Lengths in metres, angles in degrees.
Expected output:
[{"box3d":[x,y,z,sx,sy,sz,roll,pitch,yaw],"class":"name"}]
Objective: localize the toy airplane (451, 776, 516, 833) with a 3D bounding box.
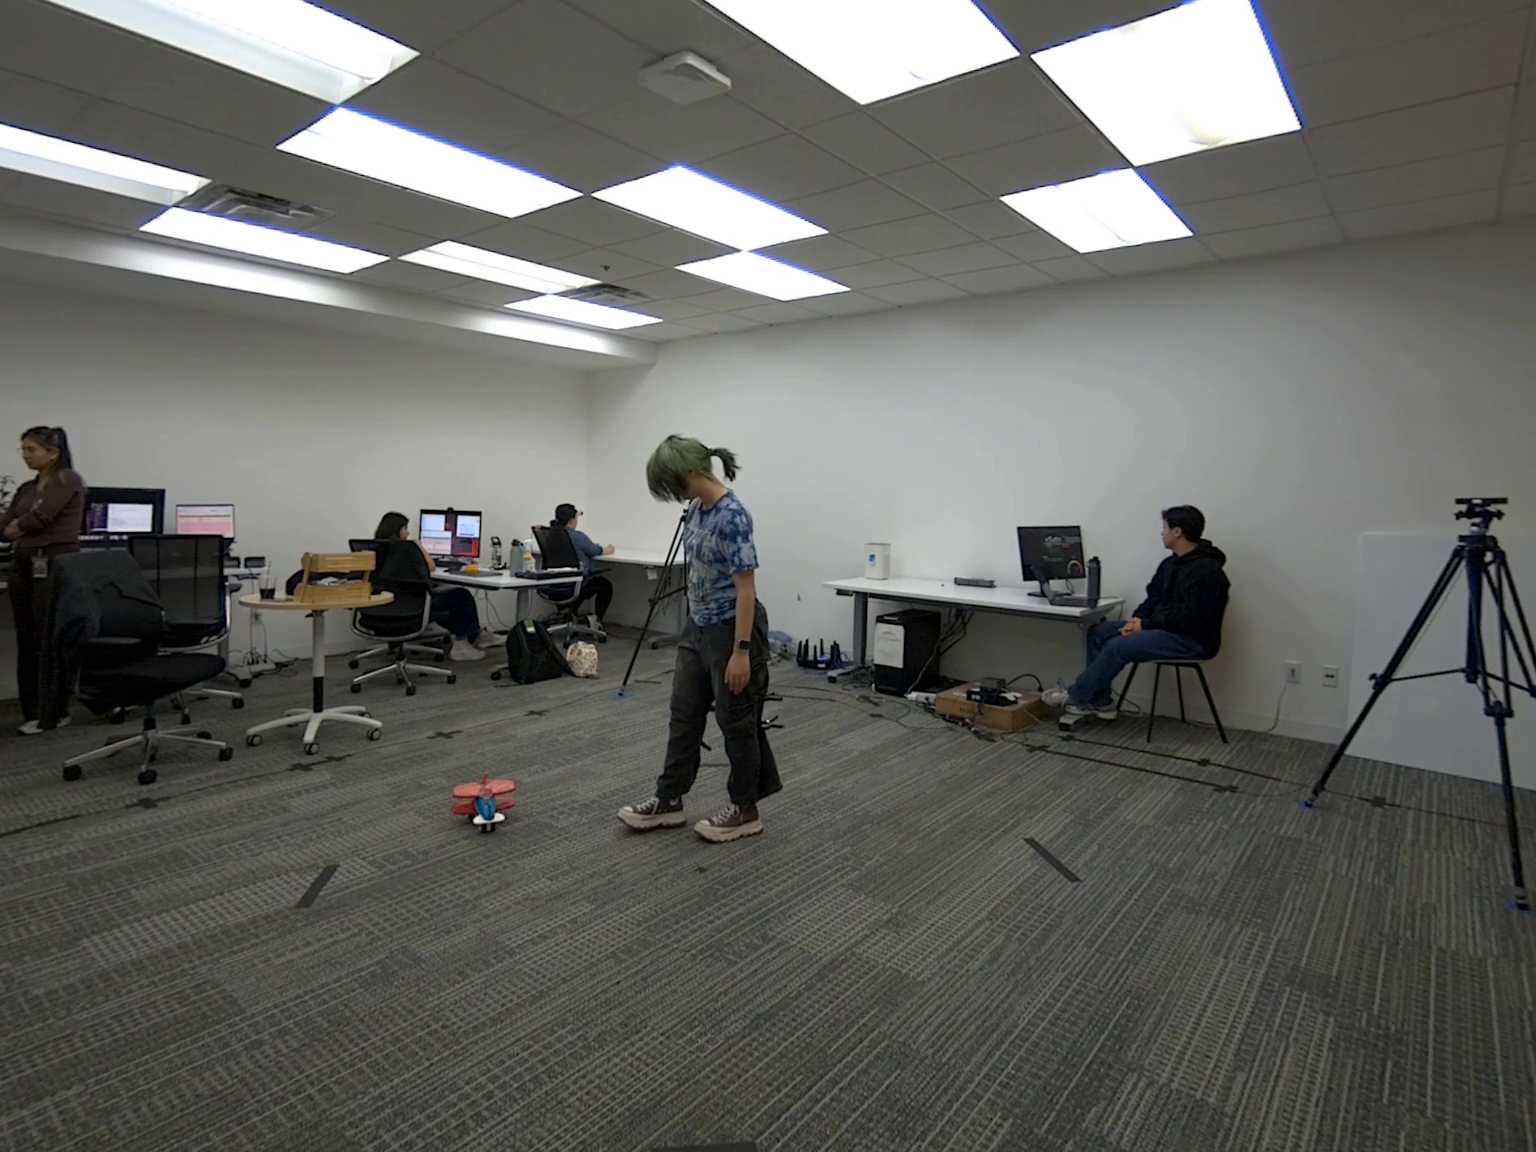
[{"box3d":[-1.169,0.947,3.510,0.268,0.156,0.244,3,5,38],"class":"toy airplane"}]
